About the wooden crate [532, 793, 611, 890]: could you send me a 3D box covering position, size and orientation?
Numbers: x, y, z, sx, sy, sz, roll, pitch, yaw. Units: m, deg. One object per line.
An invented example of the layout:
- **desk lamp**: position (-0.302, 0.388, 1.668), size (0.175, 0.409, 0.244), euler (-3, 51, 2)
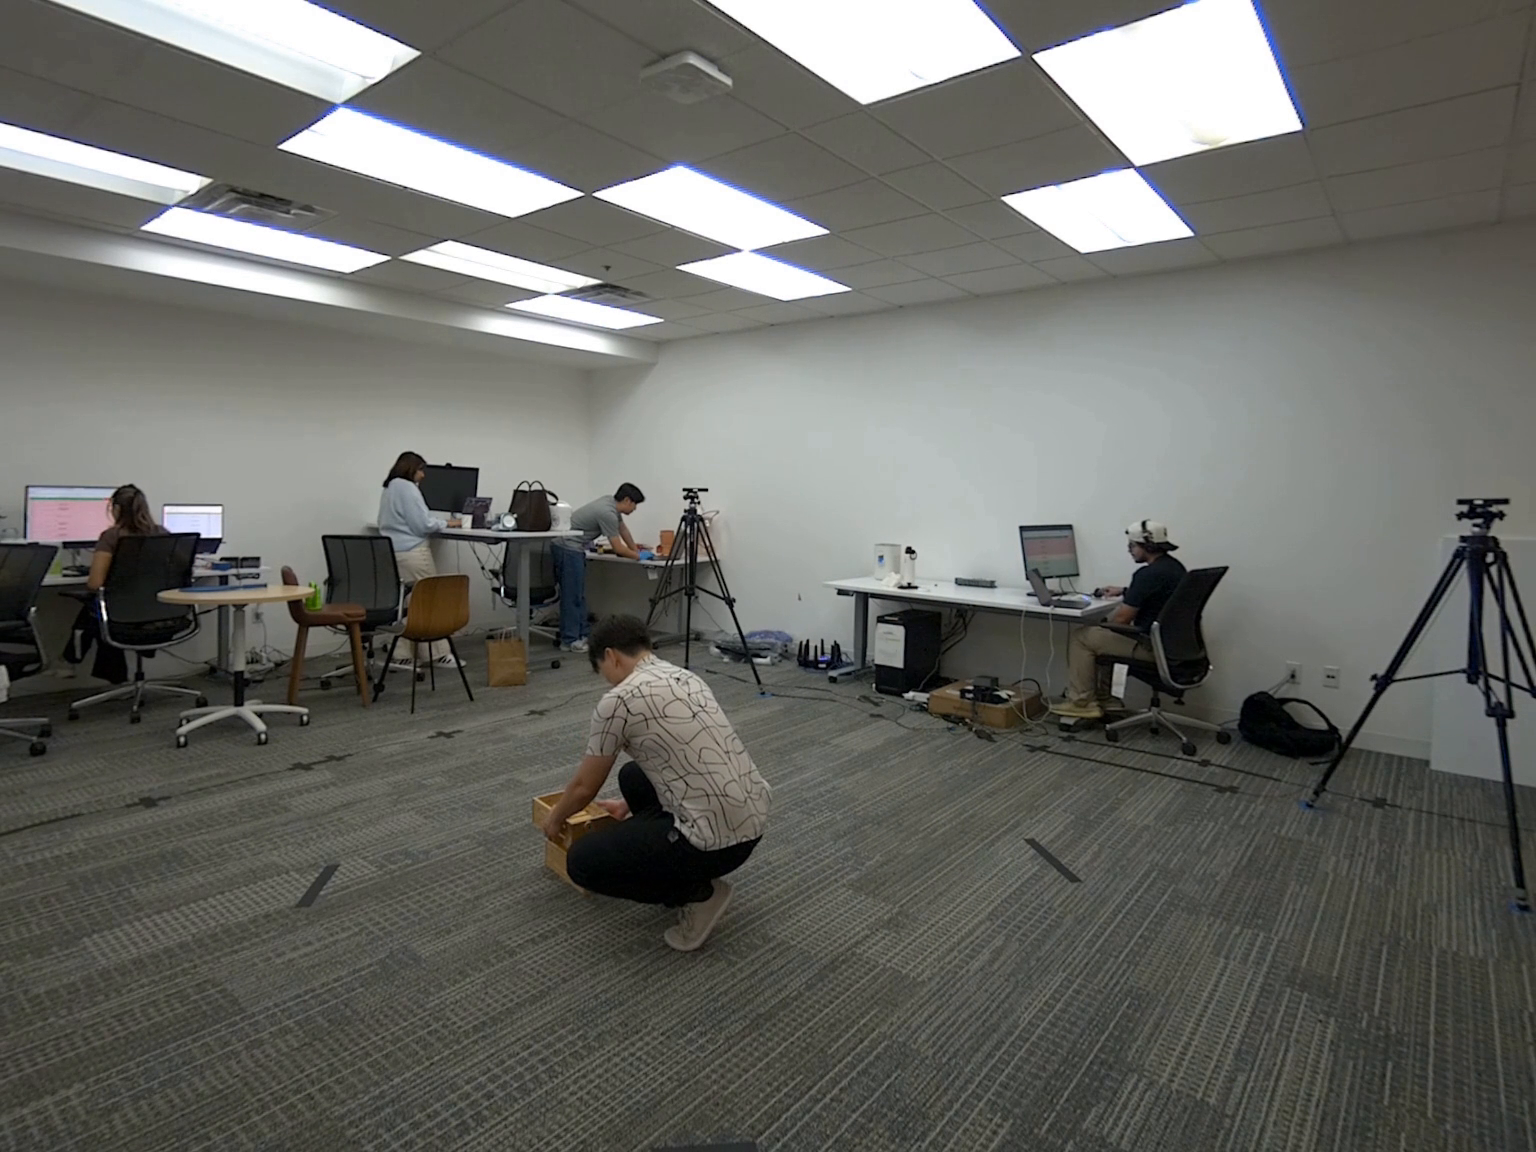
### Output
- **wooden crate**: position (-0.654, 0.928, 3.056), size (0.293, 0.272, 0.335), euler (-3, 6, -39)
